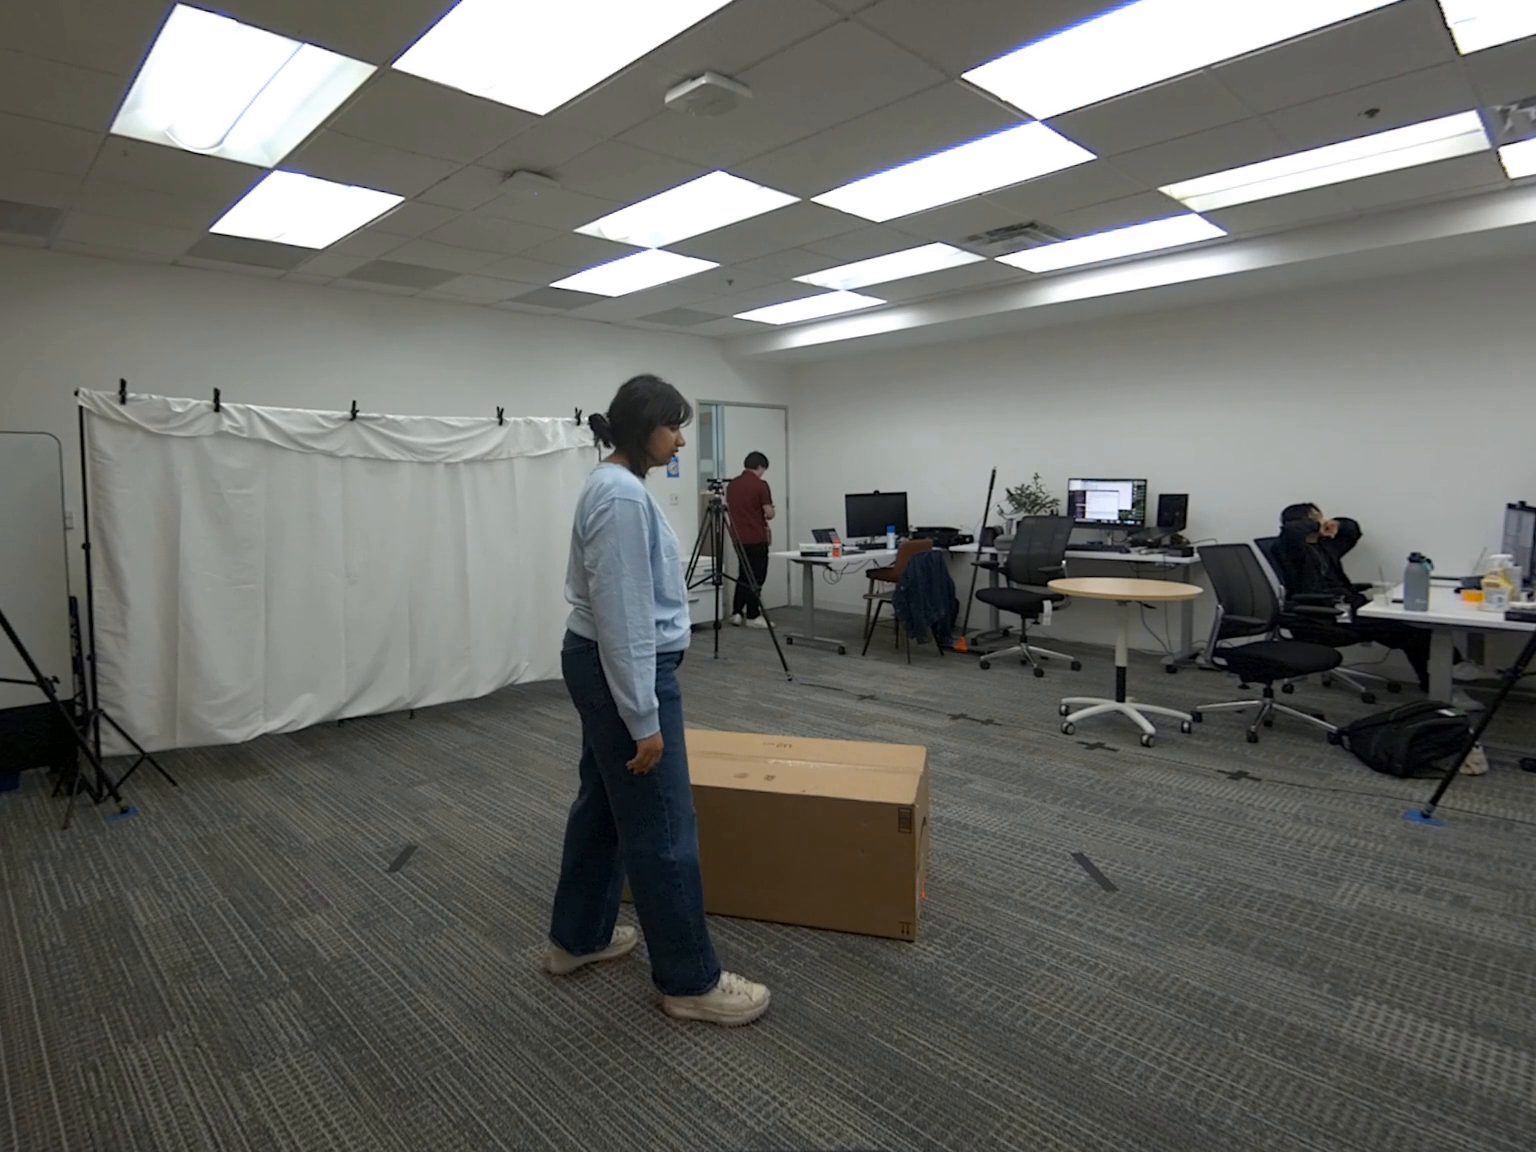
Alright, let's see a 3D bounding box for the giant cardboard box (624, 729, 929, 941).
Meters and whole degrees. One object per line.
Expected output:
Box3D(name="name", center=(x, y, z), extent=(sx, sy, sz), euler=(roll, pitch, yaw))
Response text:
Box3D(name="giant cardboard box", center=(0.015, 0.842, 2.969), extent=(1.043, 0.424, 0.571), euler=(1, 6, 17))
